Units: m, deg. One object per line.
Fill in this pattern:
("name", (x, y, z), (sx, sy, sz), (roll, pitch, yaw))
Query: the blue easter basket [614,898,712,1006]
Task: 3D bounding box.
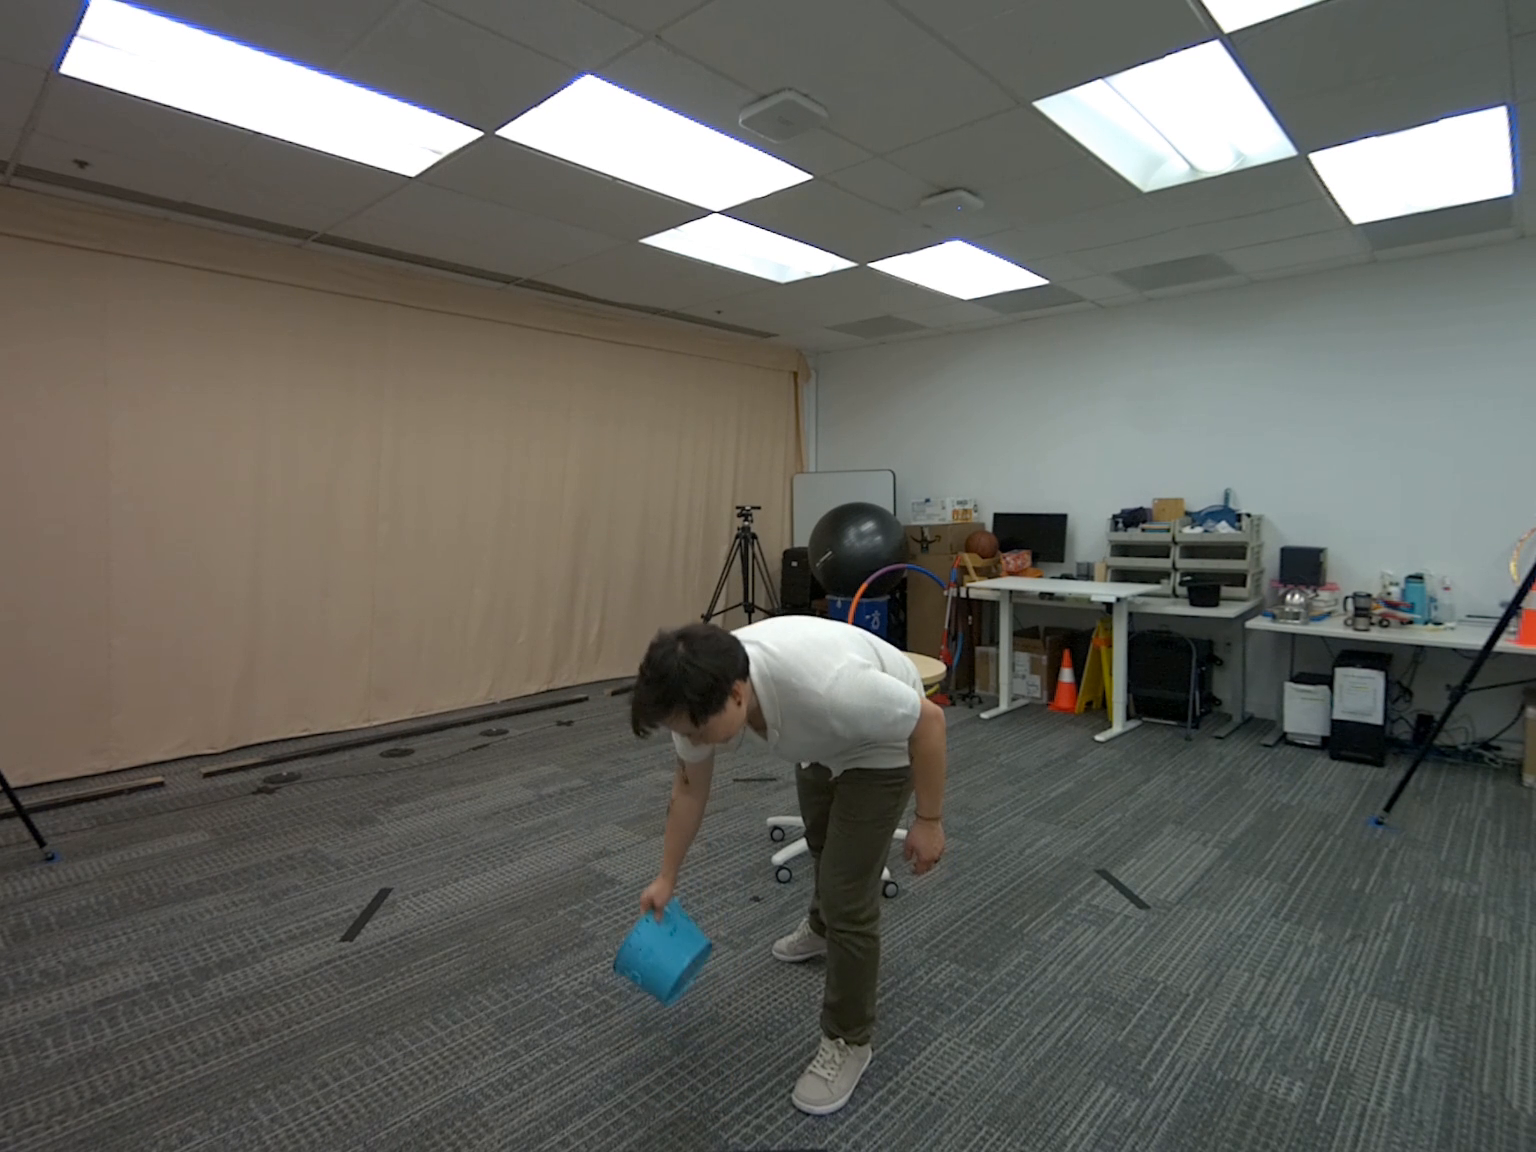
("blue easter basket", (-0.268, 0.930, 2.100), (0.161, 0.243, 0.236), (34, 21, 28))
